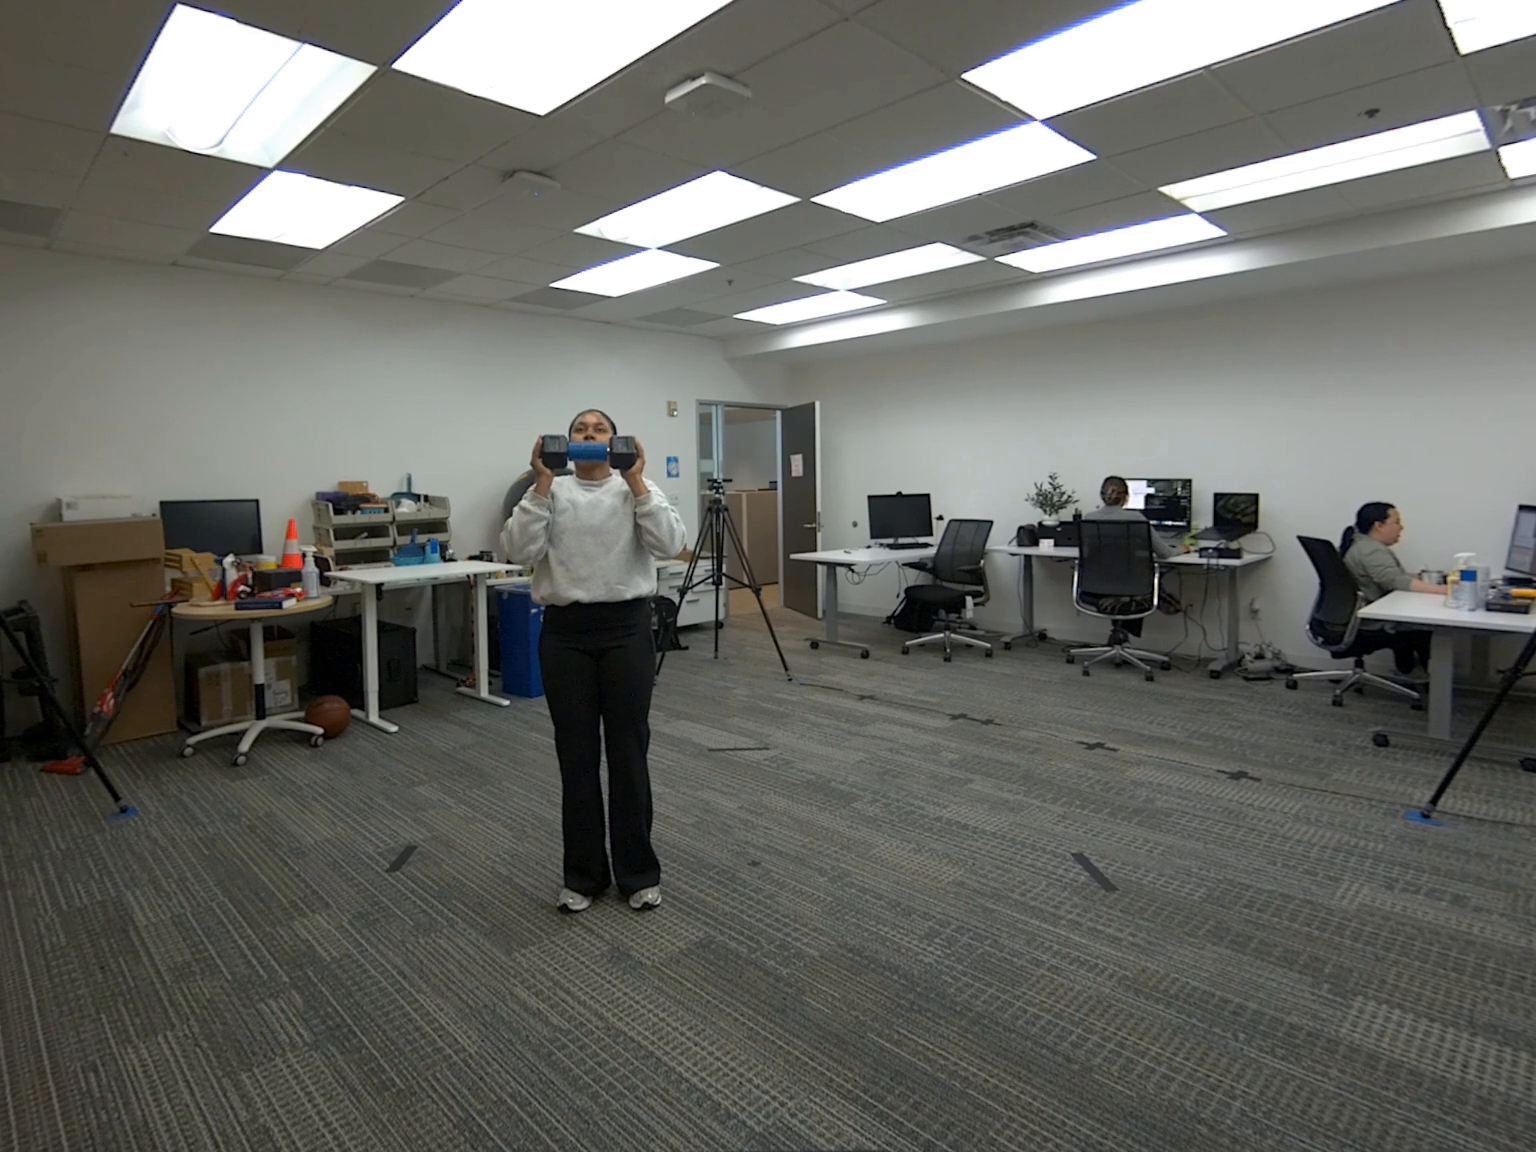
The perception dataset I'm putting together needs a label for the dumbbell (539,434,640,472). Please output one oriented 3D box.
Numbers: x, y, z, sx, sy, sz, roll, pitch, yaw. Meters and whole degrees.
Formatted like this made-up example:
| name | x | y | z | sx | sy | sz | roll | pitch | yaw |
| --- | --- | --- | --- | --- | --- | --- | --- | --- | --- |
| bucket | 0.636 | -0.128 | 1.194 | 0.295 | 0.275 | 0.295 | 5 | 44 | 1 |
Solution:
| name | x | y | z | sx | sy | sz | roll | pitch | yaw |
| --- | --- | --- | --- | --- | --- | --- | --- | --- | --- |
| dumbbell | -0.570 | -0.408 | 2.719 | 0.291 | 0.120 | 0.112 | 0 | 36 | -9 |
